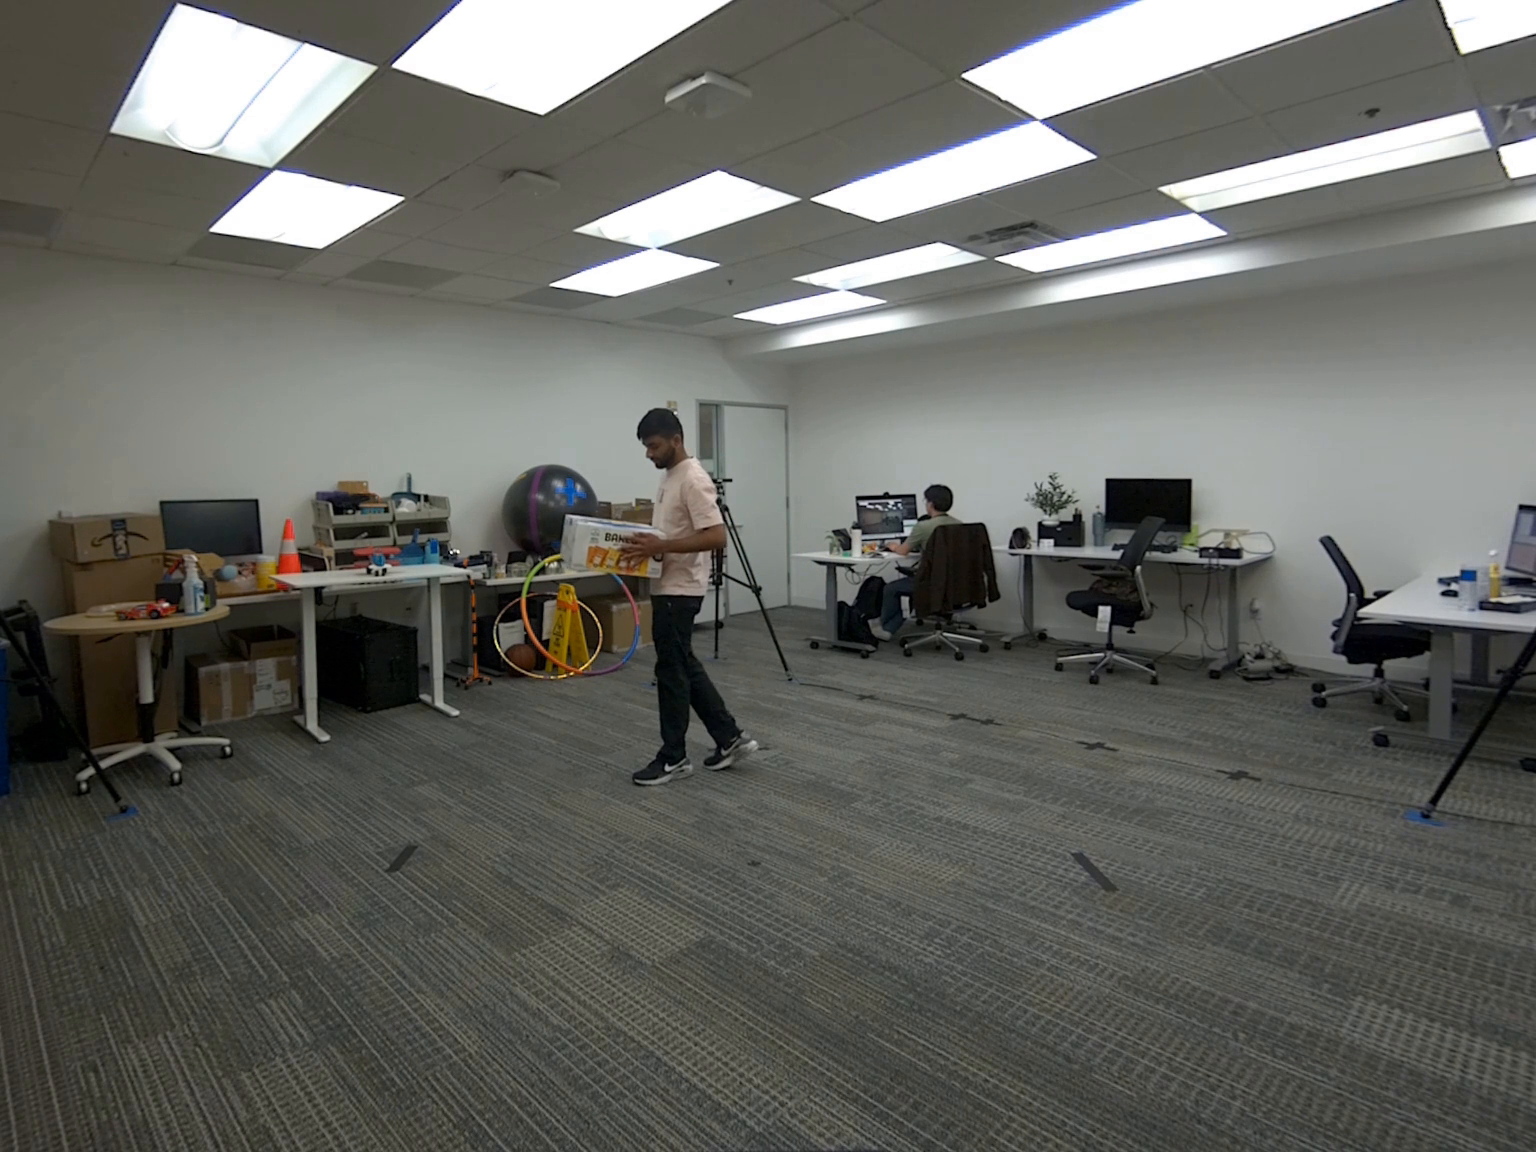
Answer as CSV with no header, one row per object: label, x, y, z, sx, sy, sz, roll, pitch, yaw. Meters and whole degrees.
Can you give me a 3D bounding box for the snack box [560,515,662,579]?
snack box,-0.708,-0.139,3.906,0.396,0.205,0.349,6,7,-22
